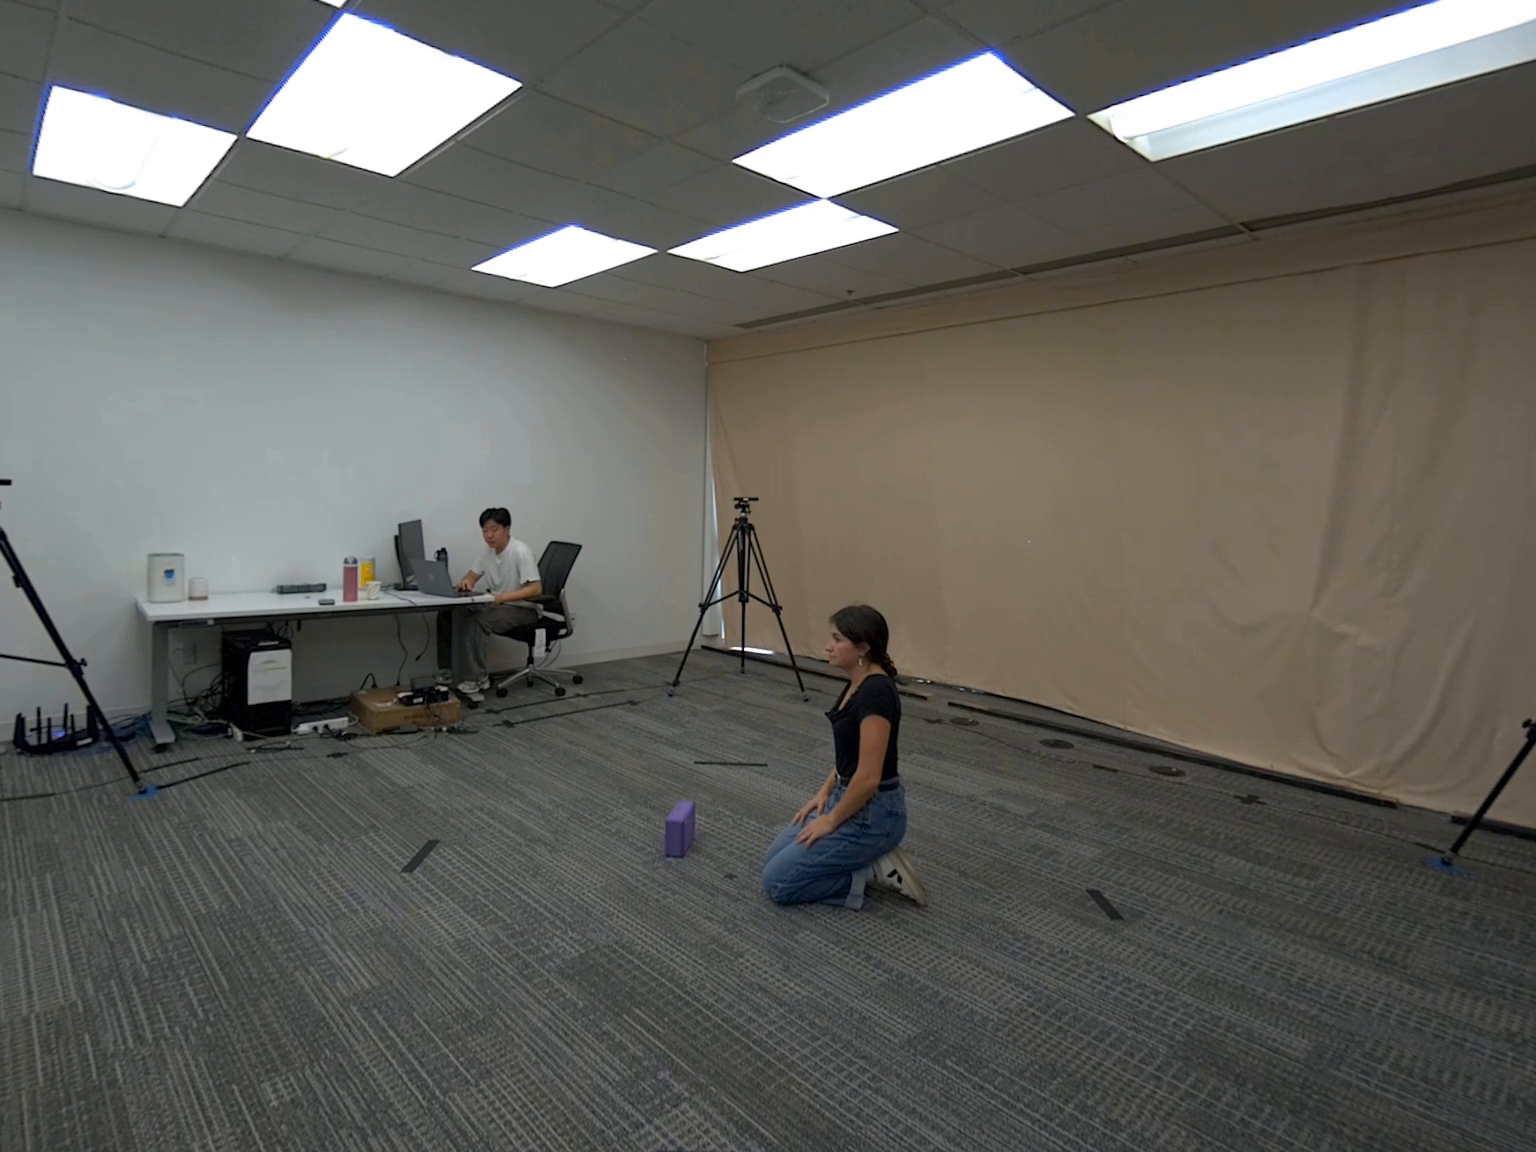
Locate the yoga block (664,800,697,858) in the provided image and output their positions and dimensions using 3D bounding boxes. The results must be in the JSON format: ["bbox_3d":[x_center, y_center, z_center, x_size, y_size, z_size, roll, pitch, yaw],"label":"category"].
[{"bbox_3d":[-0.355,1.004,3.354,0.077,0.148,0.228,2,5,7],"label":"yoga block"}]
